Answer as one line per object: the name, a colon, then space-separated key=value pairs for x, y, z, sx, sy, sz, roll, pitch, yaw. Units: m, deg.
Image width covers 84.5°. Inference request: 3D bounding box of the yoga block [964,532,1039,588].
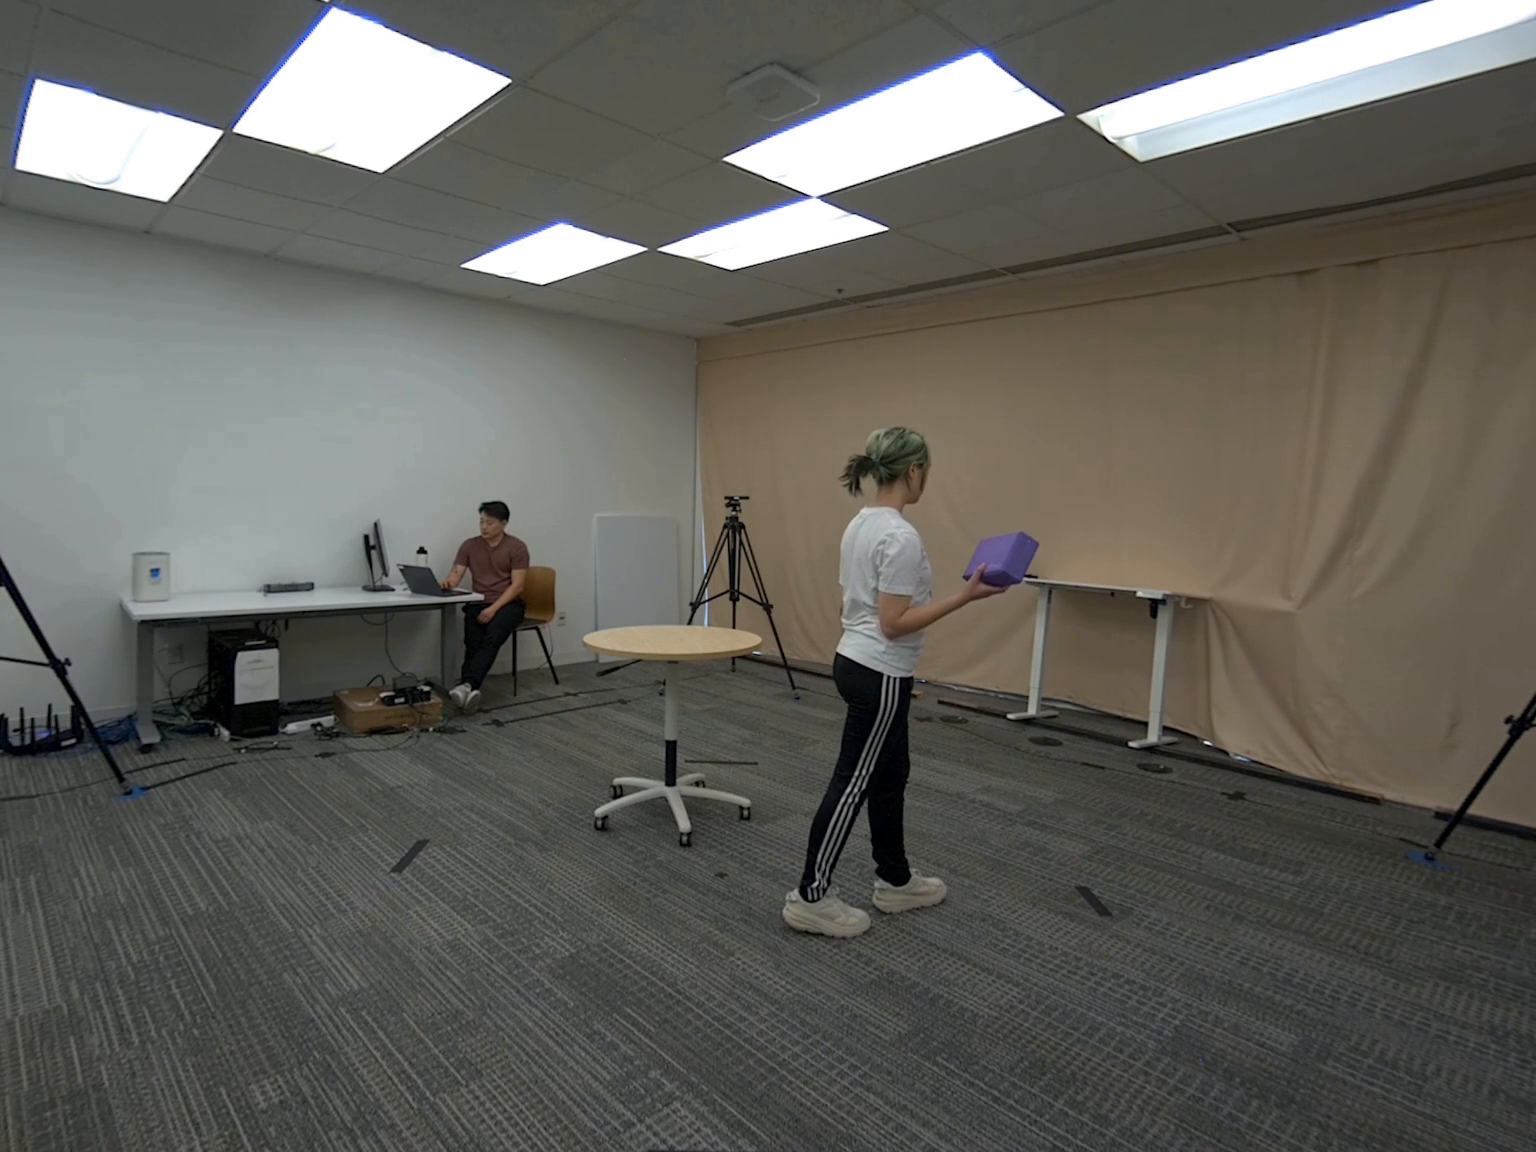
yoga block: x=0.700 y=-0.043 z=2.530 sx=0.075 sy=0.149 sz=0.231 roll=32 pitch=-14 yaw=-13
